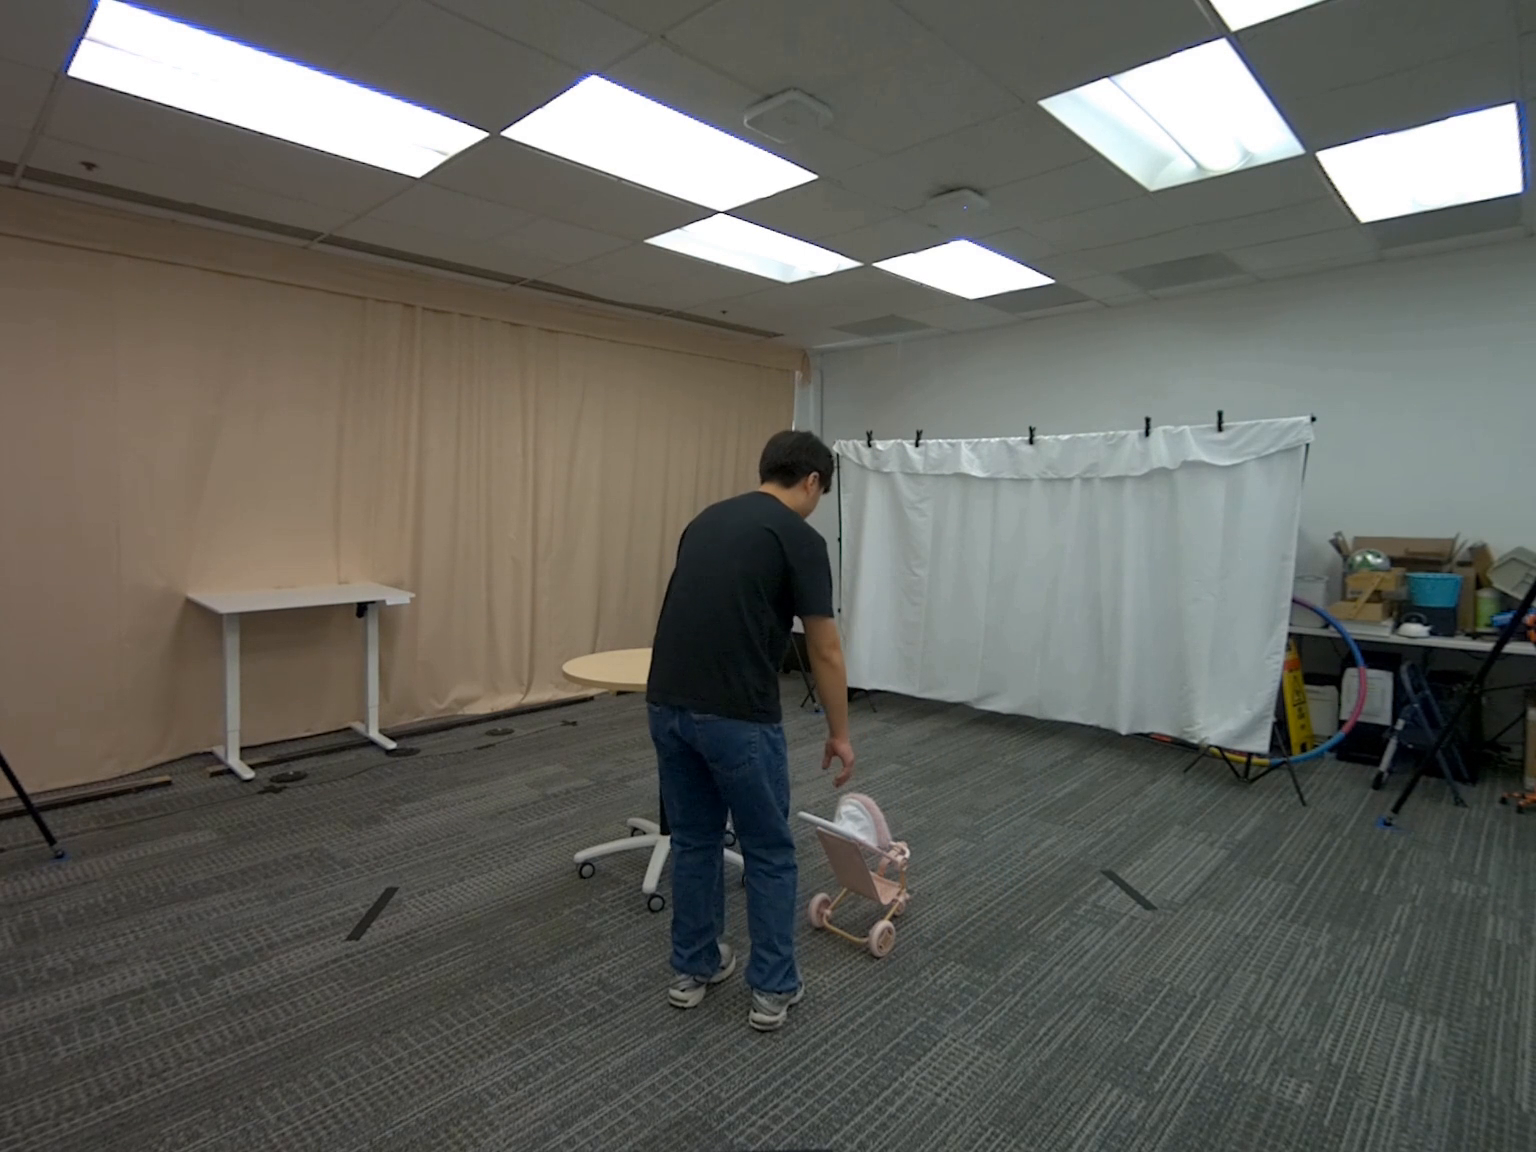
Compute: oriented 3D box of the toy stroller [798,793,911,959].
[{"bbox_3d":[0.315,0.939,2.722,0.334,0.529,0.291,-22,16,-37],"label":"toy stroller"}]
